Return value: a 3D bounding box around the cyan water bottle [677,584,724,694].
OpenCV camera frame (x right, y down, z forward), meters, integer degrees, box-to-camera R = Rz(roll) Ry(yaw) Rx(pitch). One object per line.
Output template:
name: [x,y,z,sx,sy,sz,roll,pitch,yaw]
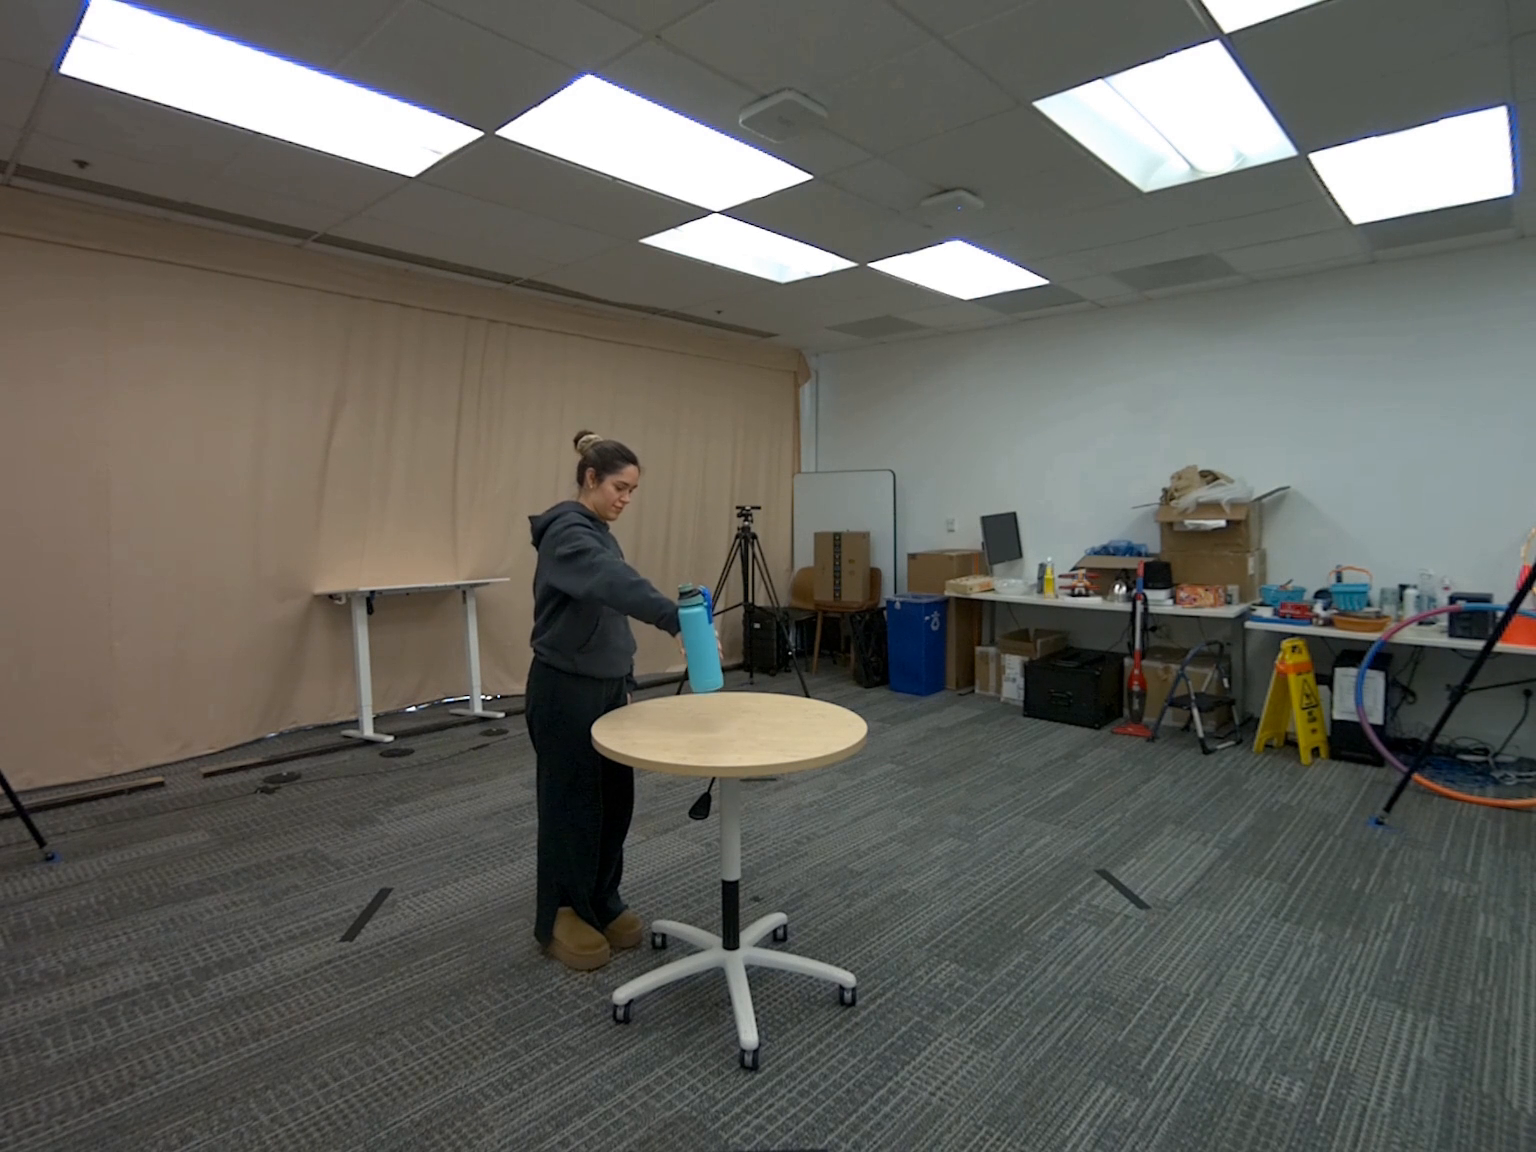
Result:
cyan water bottle: [-0.175,0.159,2.229,0.092,0.282,0.093,-8,5,-1]
